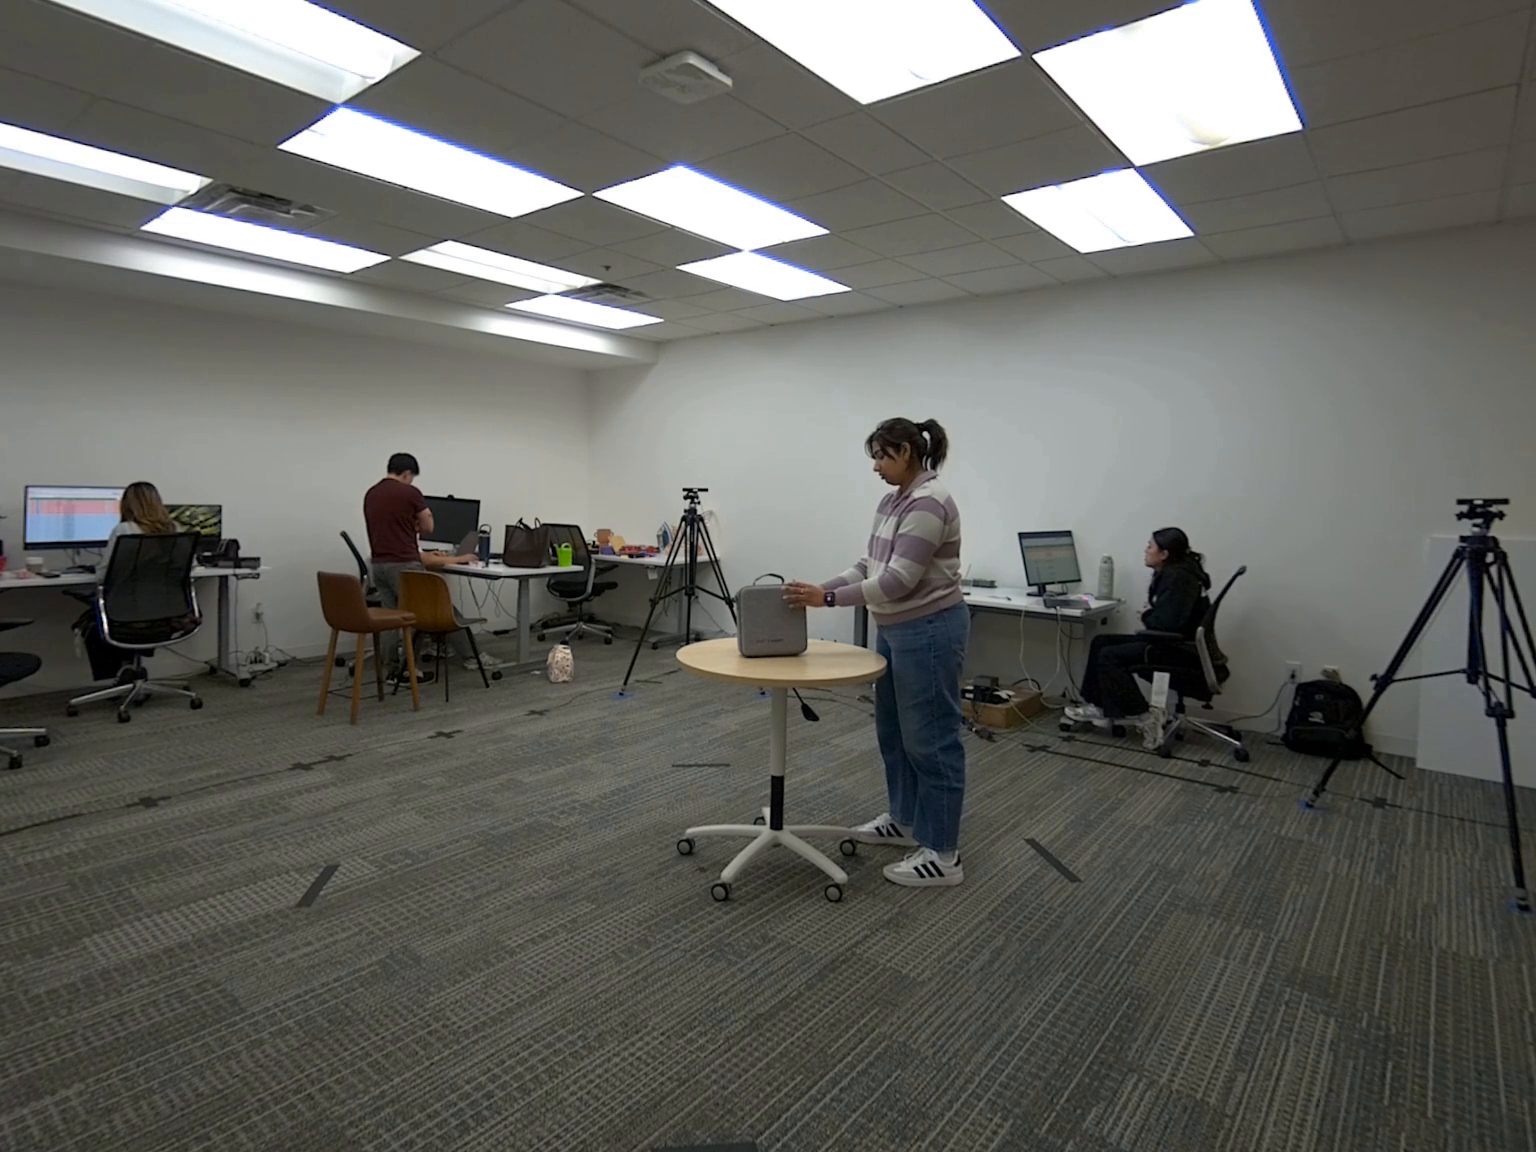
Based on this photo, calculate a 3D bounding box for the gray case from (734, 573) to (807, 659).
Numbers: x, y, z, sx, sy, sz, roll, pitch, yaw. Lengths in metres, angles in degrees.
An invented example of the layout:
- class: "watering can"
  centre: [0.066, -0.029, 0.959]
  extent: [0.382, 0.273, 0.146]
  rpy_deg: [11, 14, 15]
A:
- class: "gray case"
  centre: [0.004, 0.156, 3.130]
  extent: [0.254, 0.262, 0.105]
  rpy_deg: [-1, -4, -12]
